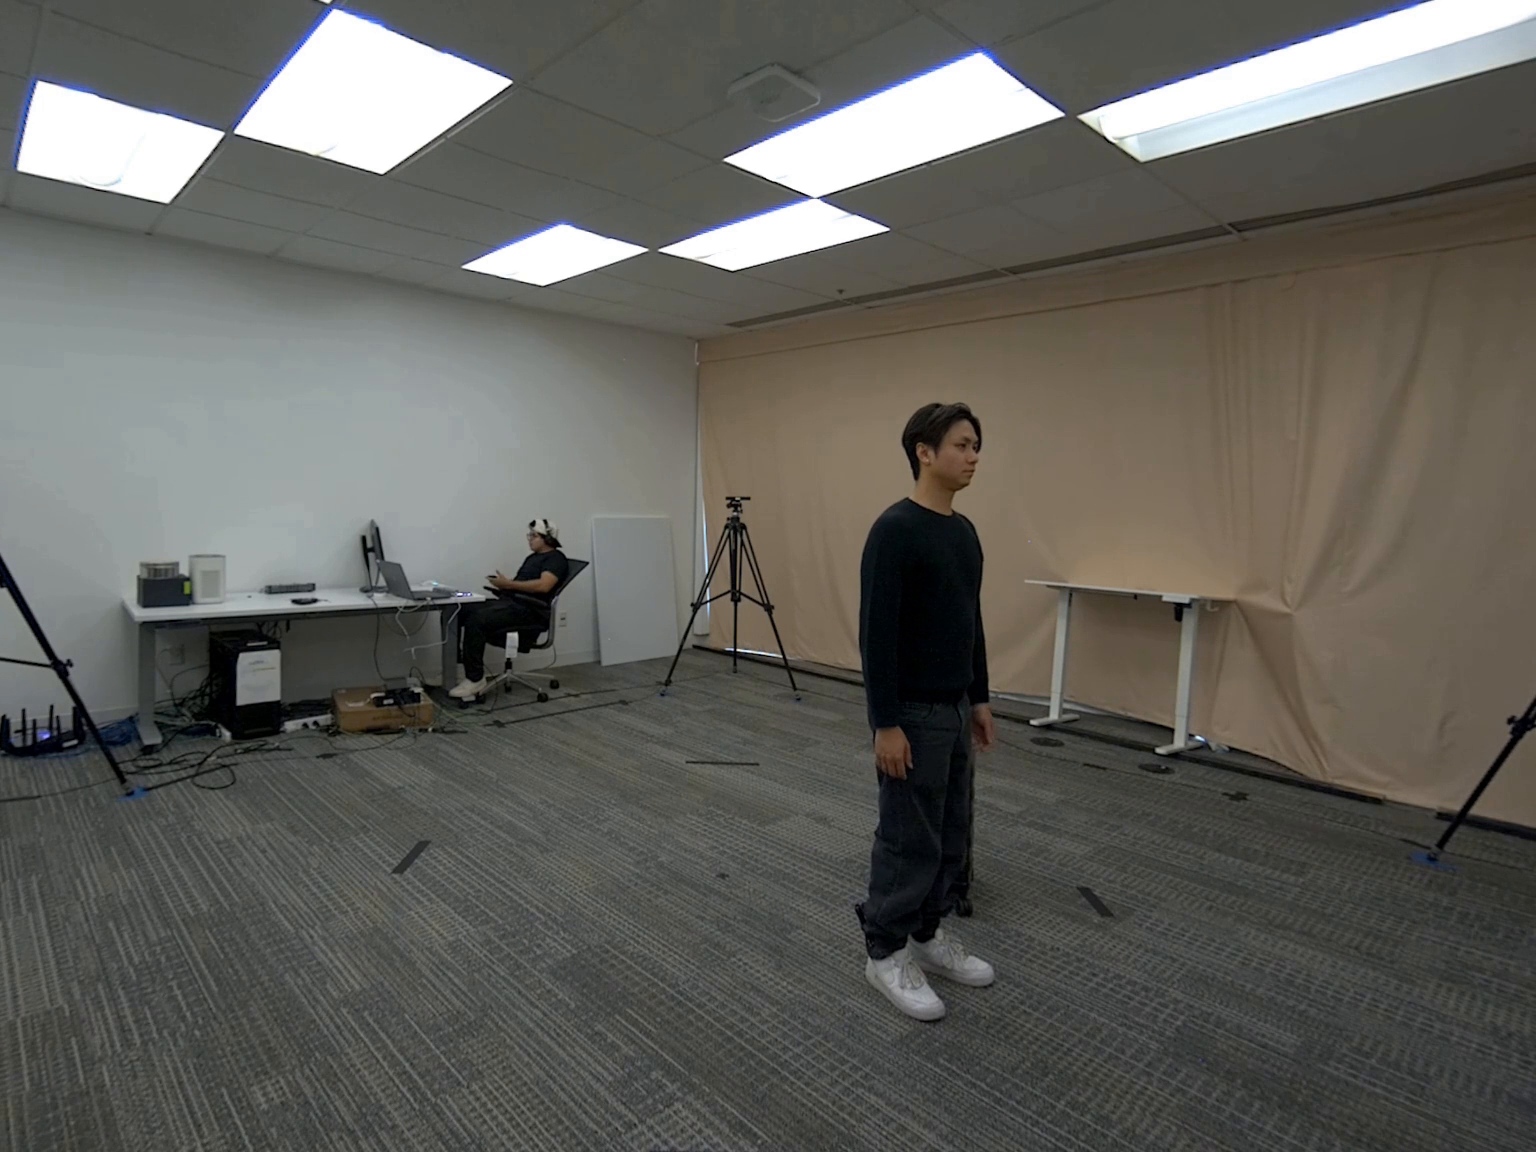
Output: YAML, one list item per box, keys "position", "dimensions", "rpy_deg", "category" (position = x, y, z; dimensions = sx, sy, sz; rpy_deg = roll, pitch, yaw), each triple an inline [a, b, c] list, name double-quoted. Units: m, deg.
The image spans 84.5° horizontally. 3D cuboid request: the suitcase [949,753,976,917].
- position: [0.612, 0.861, 3.028]
  dimensions: [0.252, 0.548, 0.371]
  rpy_deg: [2, 2, 17]
  category: "suitcase"
